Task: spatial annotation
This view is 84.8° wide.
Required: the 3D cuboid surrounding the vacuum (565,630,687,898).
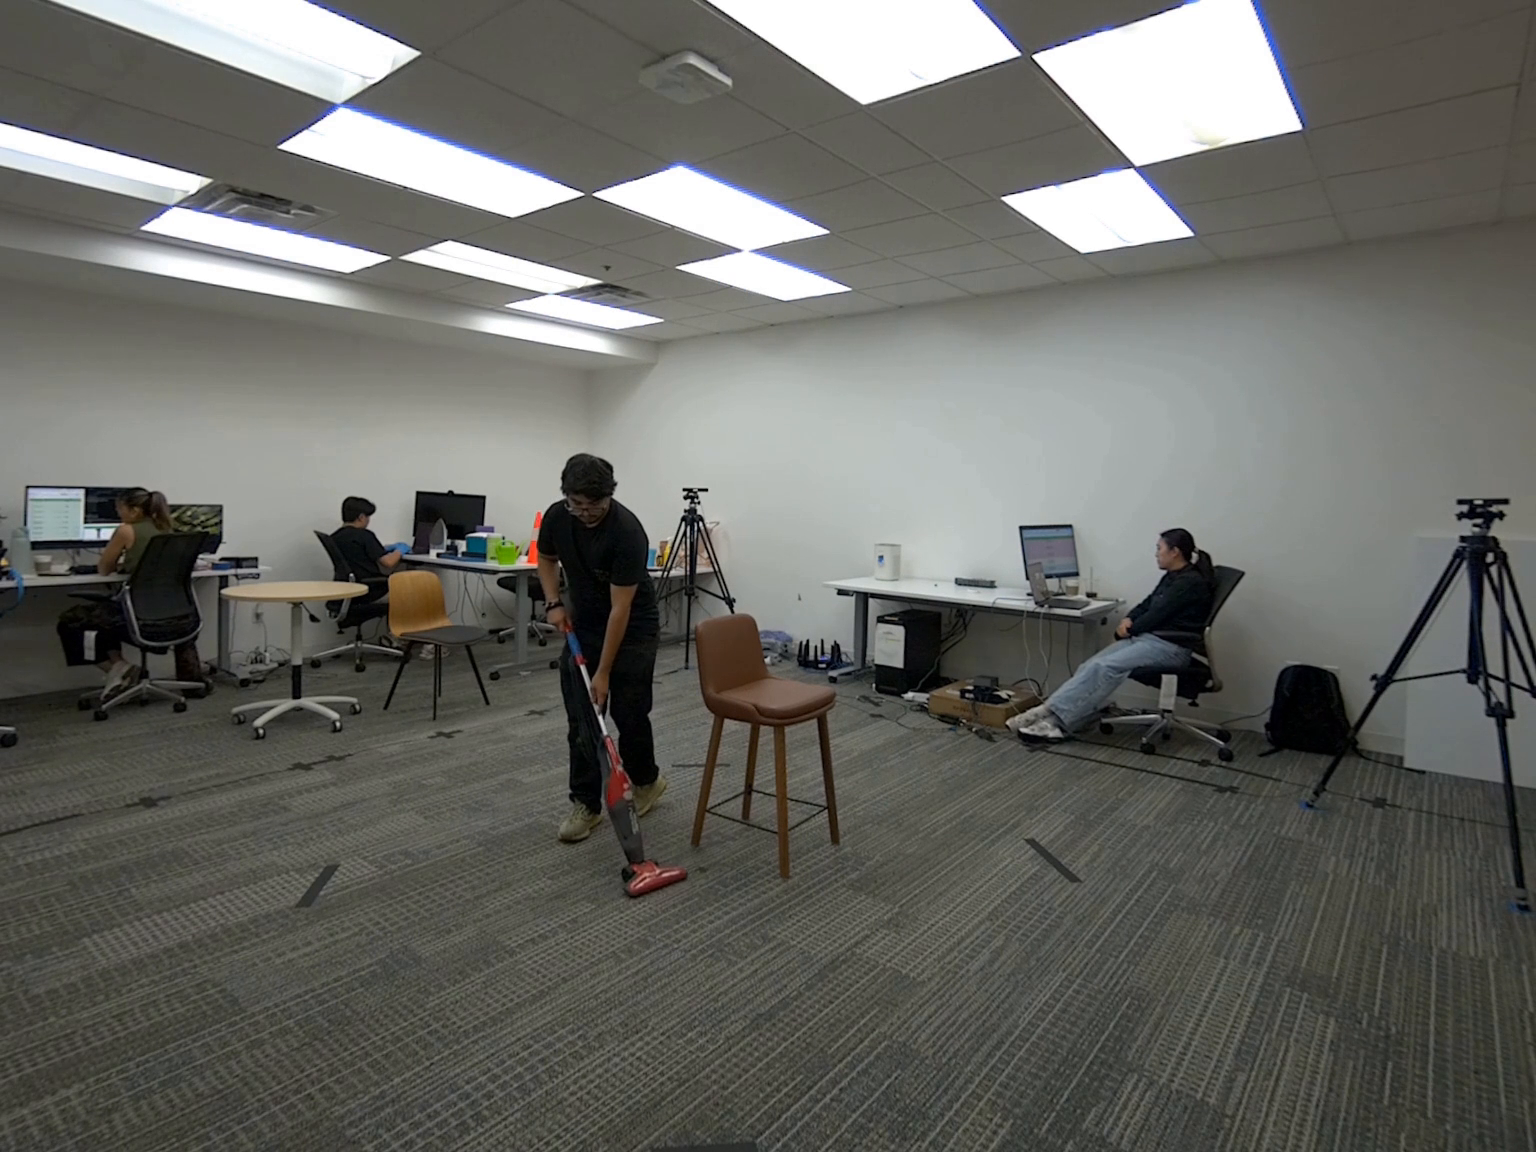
[{"bbox_3d":[-0.640,0.631,3.200,0.244,1.080,0.144,4,-37,-49],"label":"vacuum"}]
